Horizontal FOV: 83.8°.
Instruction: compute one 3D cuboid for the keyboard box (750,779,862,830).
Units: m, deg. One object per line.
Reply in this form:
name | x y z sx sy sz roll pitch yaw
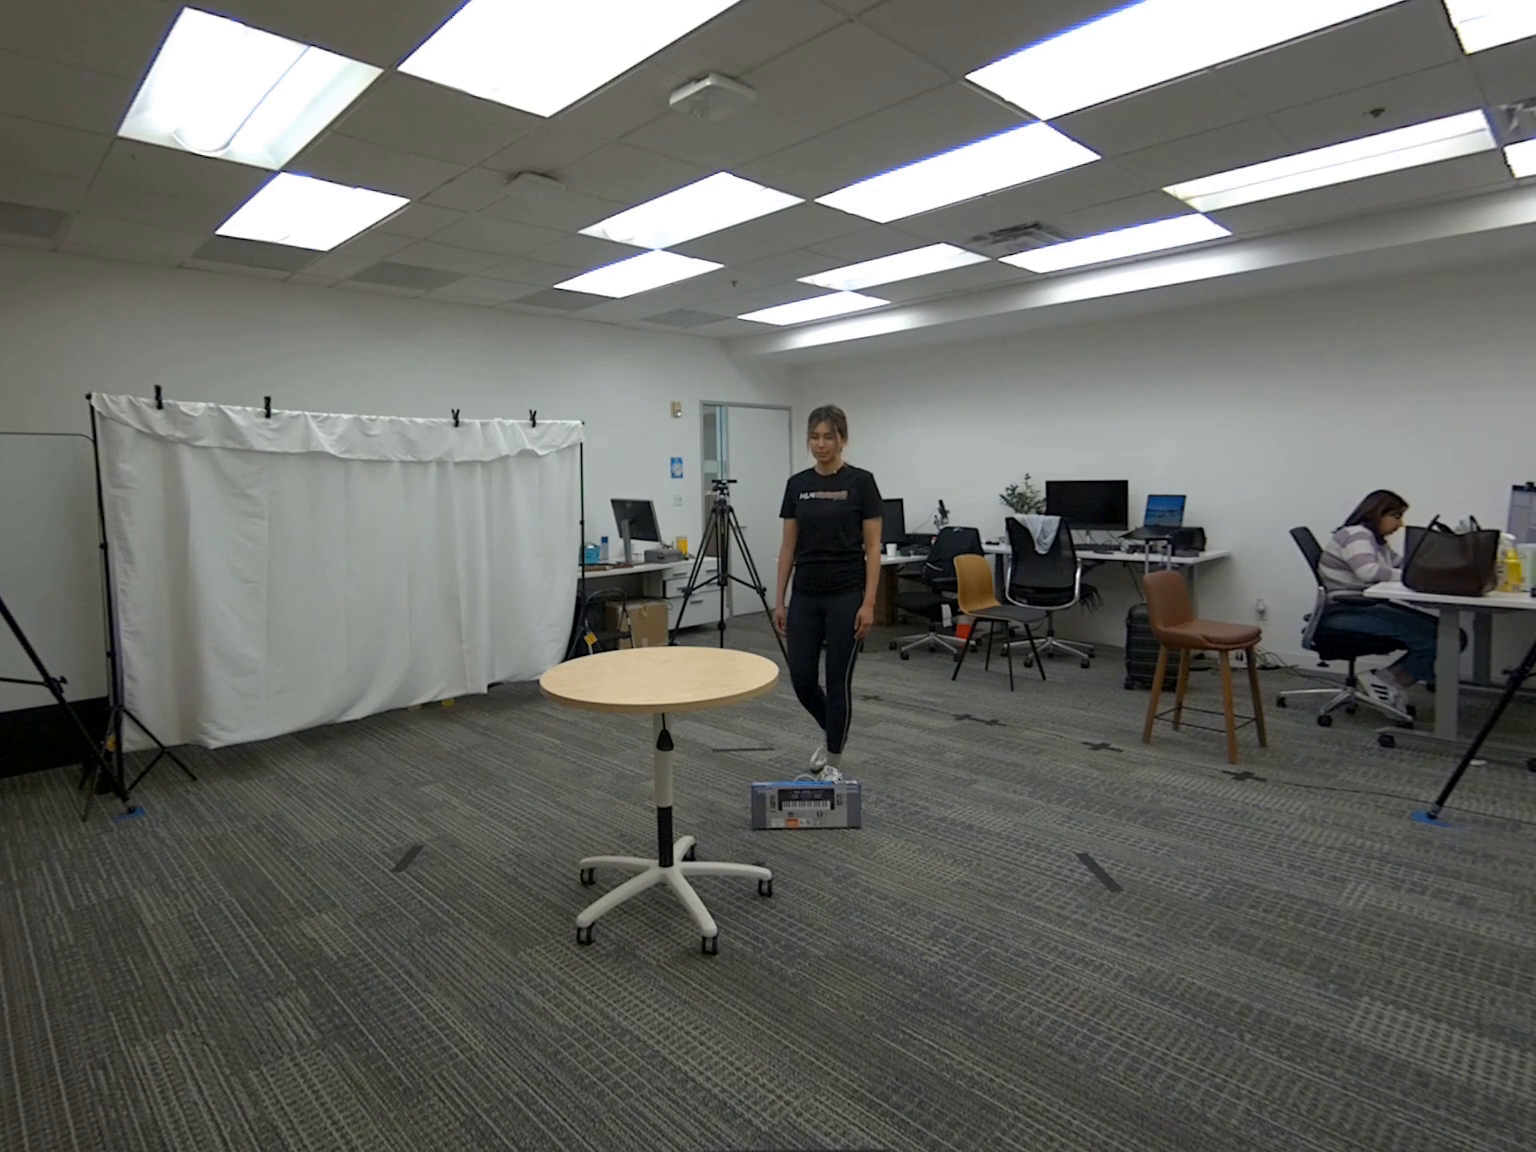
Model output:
keyboard box | 0.154 0.920 3.434 0.437 0.176 0.059 -1 -2 0
